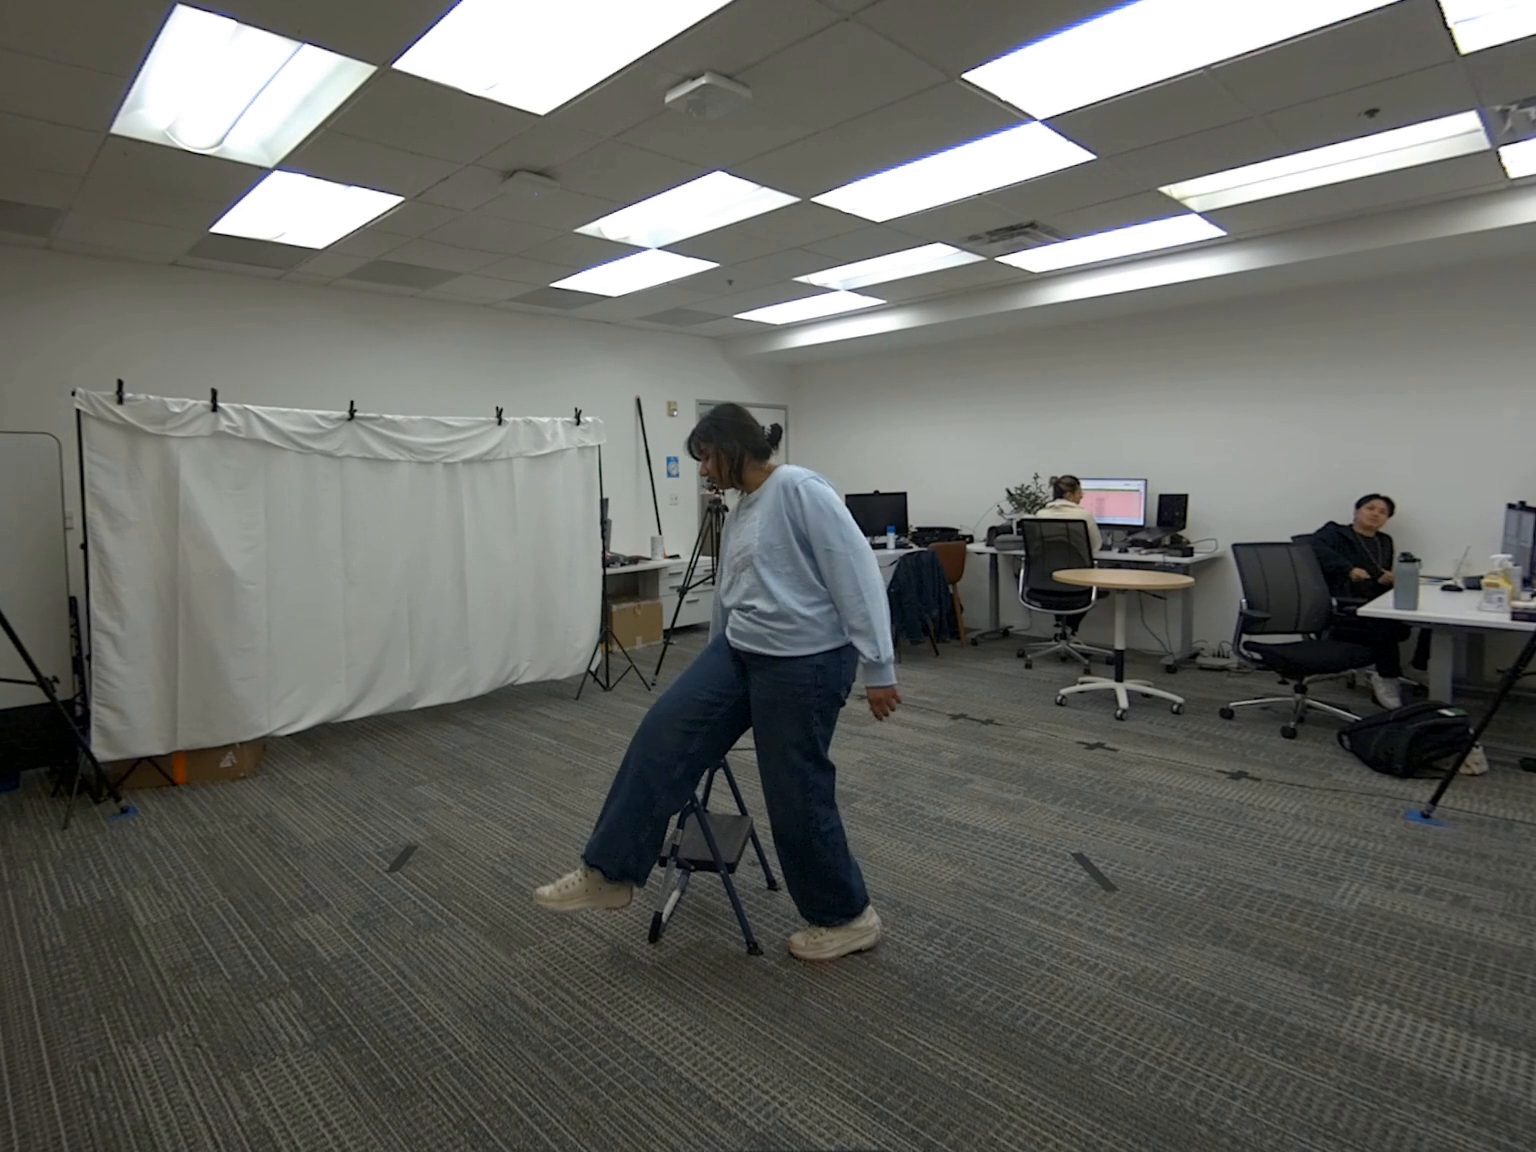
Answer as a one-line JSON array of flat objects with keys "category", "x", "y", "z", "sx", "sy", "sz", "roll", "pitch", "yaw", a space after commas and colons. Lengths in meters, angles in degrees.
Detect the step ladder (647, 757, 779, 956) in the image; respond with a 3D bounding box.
[{"category": "step ladder", "x": -0.164, "y": 0.791, "z": 2.733, "sx": 0.353, "sy": 0.604, "sz": 0.428, "roll": 1, "pitch": 5, "yaw": 10}]
